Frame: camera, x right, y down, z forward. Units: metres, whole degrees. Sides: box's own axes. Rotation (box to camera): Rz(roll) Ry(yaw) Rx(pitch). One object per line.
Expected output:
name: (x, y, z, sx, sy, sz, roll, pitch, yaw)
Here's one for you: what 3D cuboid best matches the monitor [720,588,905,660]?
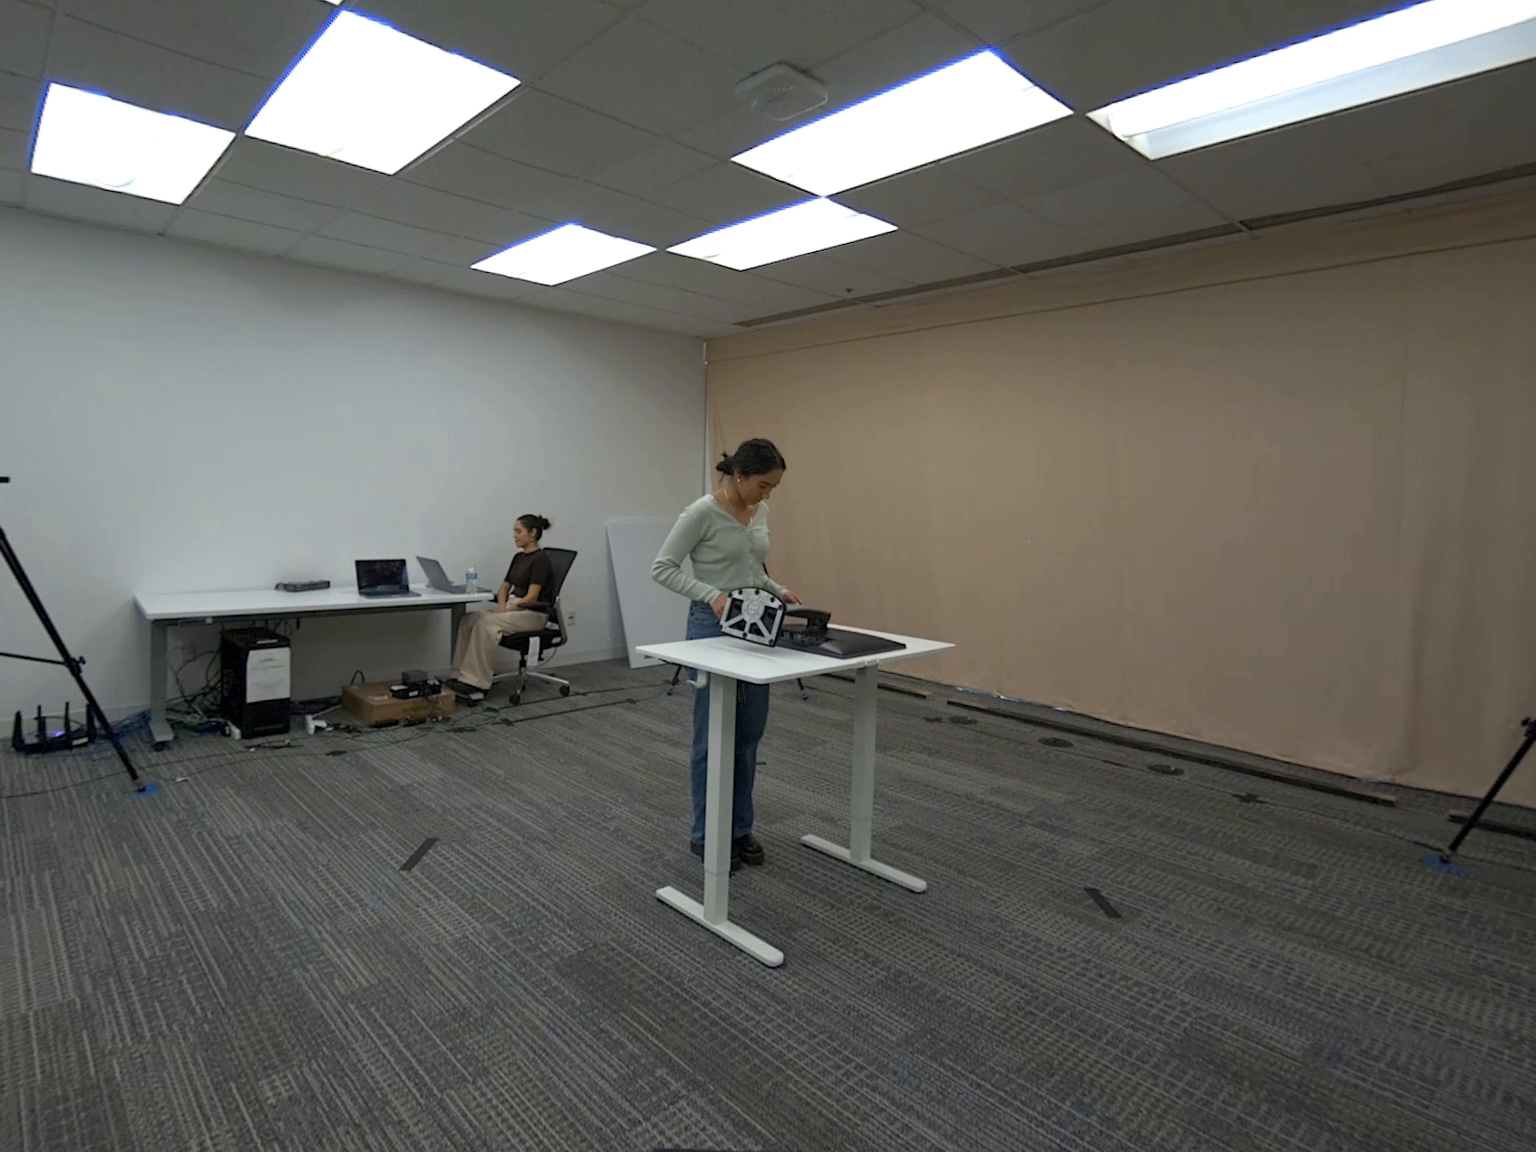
monitor: (0.108, 0.184, 2.942, 0.507, 0.187, 0.554, 17, -4, -44)
